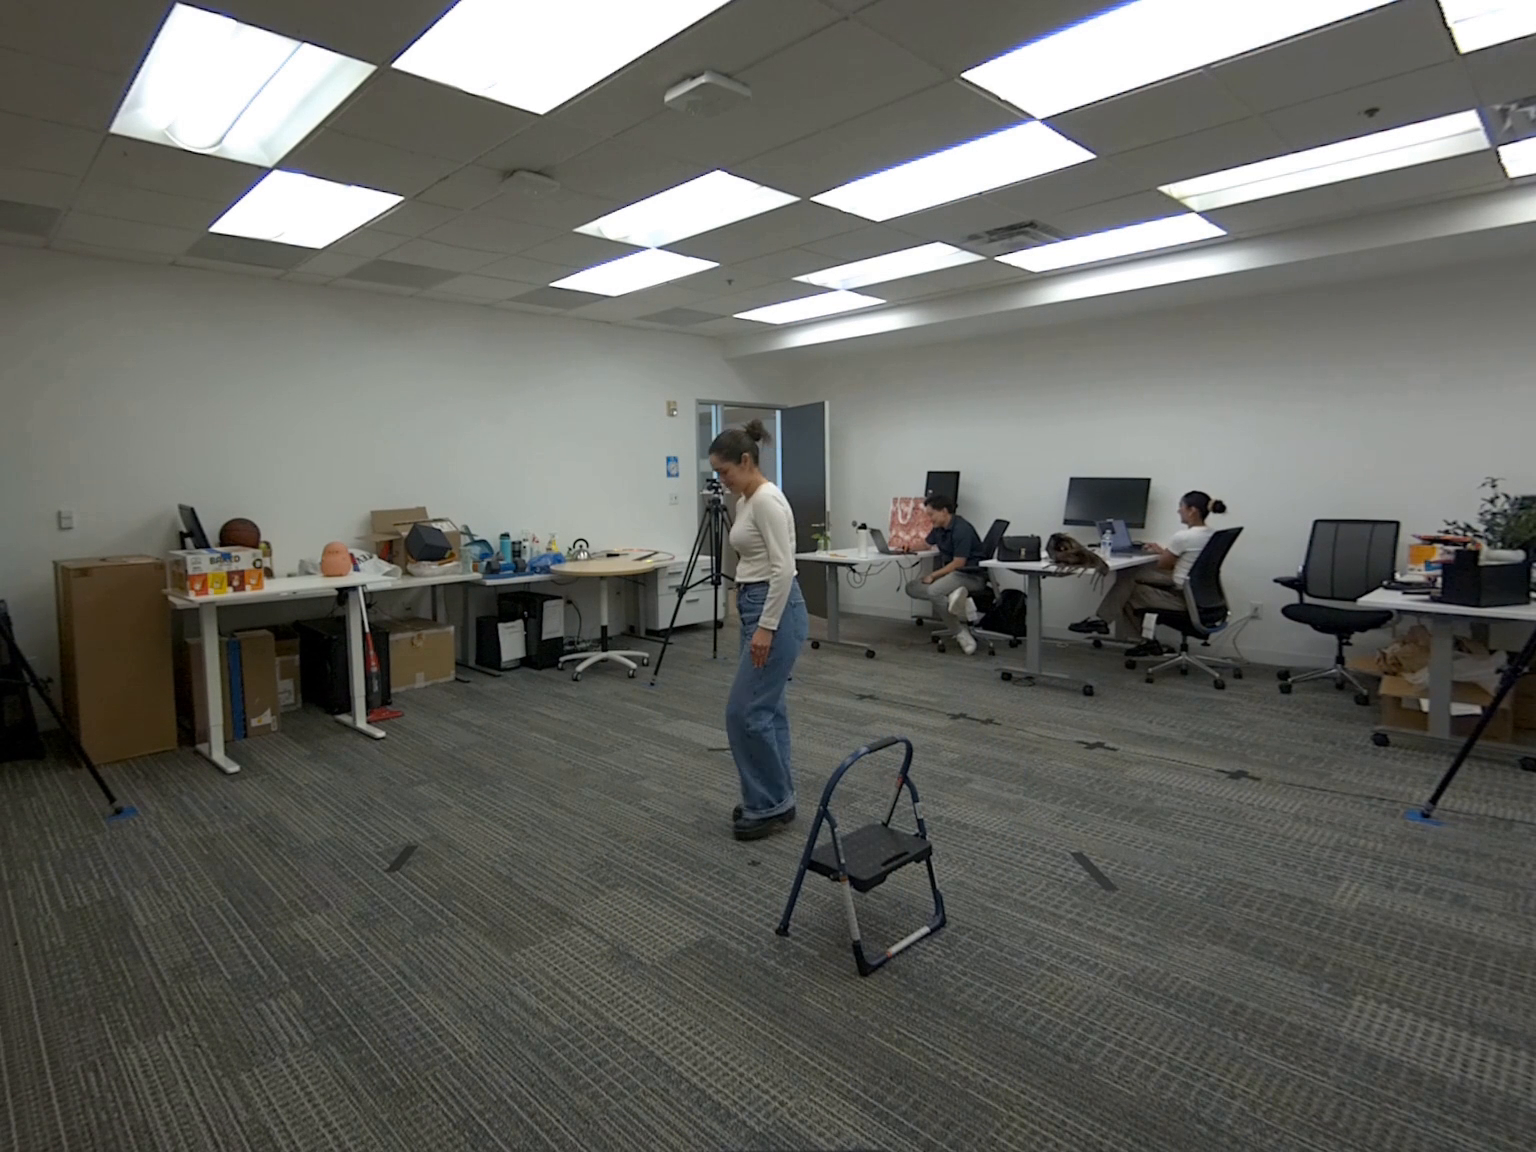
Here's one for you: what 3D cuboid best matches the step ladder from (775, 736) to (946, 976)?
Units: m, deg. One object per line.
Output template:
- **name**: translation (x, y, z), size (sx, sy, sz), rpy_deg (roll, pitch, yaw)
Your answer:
- **step ladder**: translation (0.289, 0.793, 2.627), size (0.360, 0.604, 0.419), rpy_deg (3, 7, 45)
